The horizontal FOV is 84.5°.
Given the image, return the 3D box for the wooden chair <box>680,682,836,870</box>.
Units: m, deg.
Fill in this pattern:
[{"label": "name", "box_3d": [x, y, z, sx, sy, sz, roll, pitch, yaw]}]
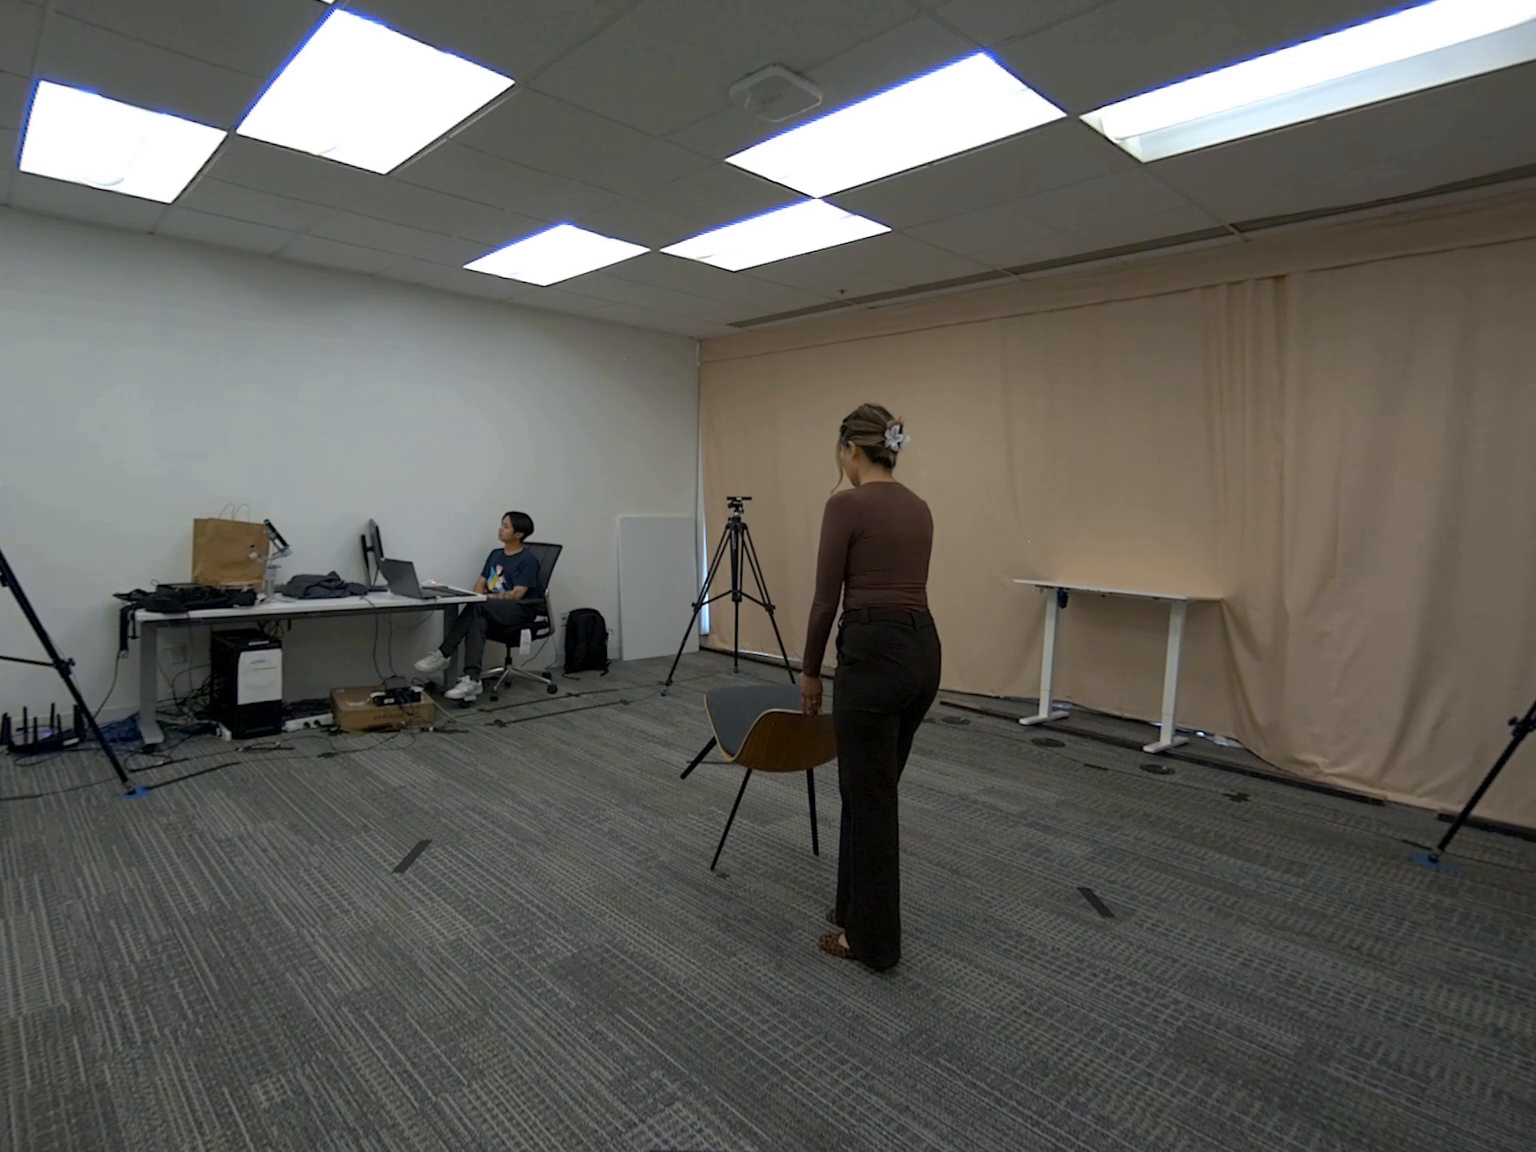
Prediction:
[{"label": "wooden chair", "box_3d": [0.007, 0.615, 3.179, 0.470, 0.865, 0.539, 0, 39, -23]}]
